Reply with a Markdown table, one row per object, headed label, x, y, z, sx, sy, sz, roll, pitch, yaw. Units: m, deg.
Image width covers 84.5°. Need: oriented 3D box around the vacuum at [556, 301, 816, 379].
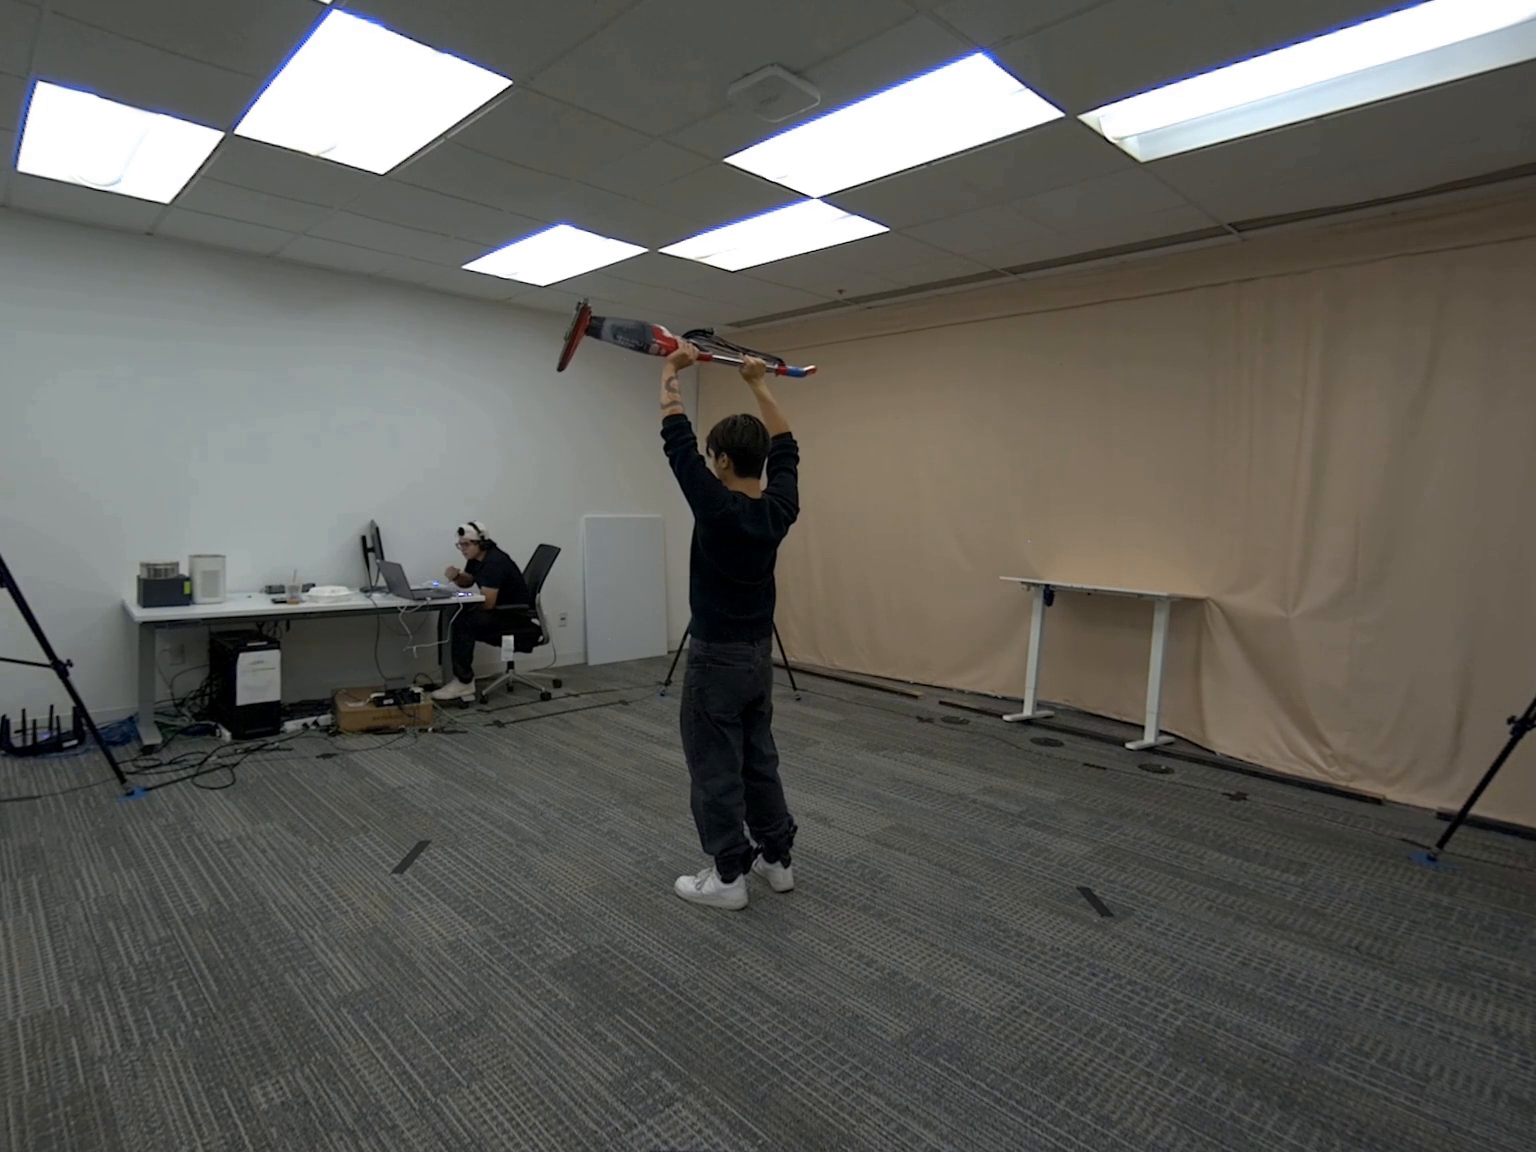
| label | x | y | z | sx | sy | sz | roll | pitch | yaw |
| --- | --- | --- | --- | --- | --- | --- | --- | --- | --- |
| vacuum | -0.225 | -0.796 | 2.961 | 1.026 | 0.148 | 0.251 | -3 | -39 | -39 |
